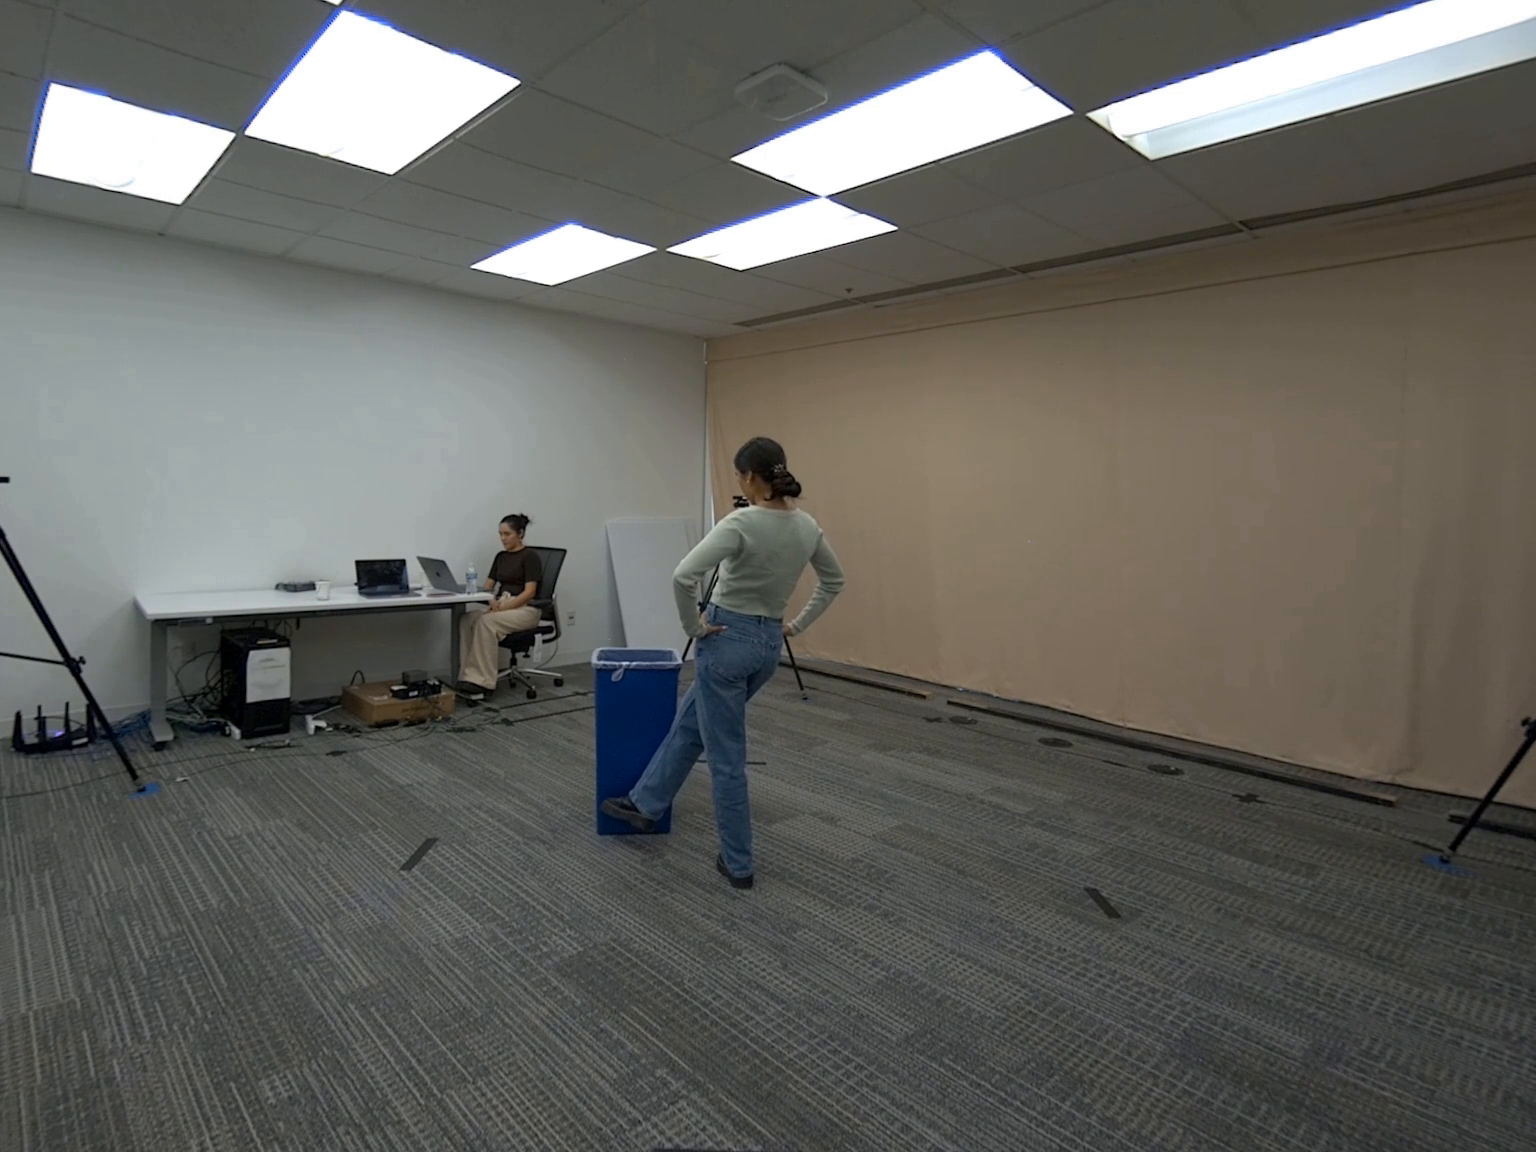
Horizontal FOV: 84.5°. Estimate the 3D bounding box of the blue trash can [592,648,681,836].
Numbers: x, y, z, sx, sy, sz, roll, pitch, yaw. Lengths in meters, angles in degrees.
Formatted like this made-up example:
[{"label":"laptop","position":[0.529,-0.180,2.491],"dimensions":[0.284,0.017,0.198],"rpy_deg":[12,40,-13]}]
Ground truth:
[{"label":"blue trash can","position":[-0.569,0.693,3.596],"dimensions":[0.371,0.713,0.381],"rpy_deg":[1,2,-9]}]
